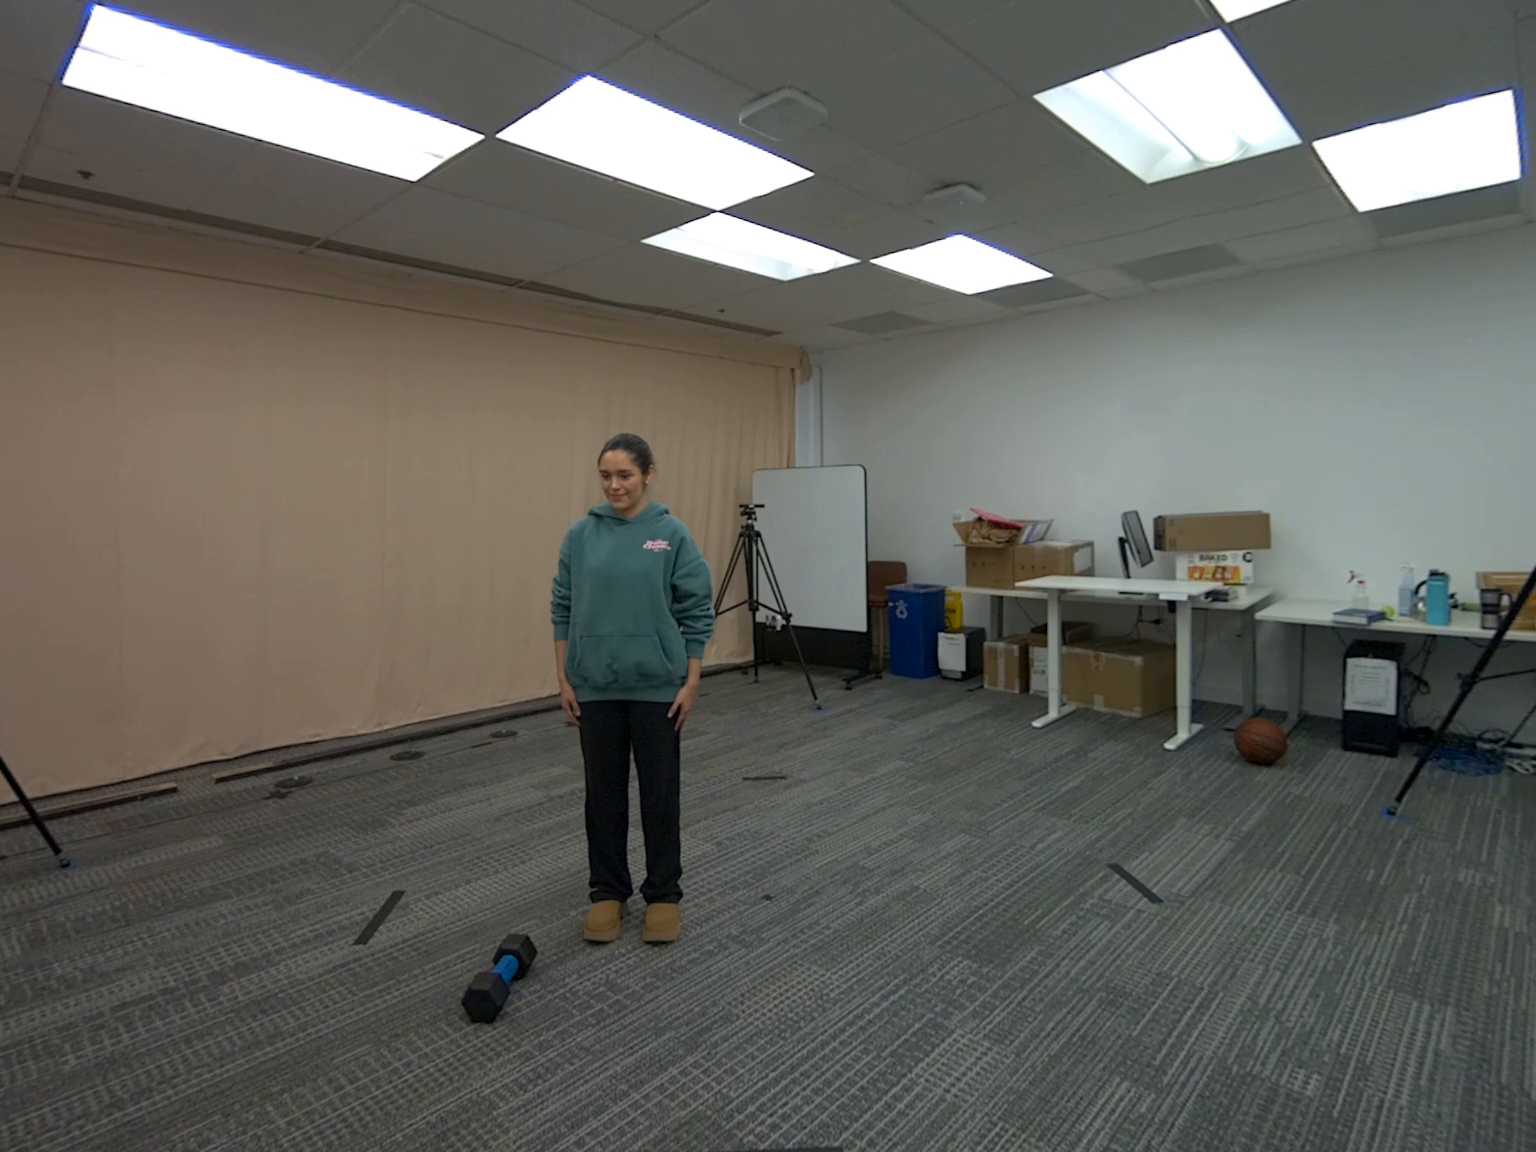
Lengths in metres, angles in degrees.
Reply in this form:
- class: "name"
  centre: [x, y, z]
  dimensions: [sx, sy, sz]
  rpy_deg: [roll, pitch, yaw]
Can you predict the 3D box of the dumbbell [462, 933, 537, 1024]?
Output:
- class: "dumbbell"
  centre: [-0.770, 1.152, 2.416]
  dimensions: [0.109, 0.123, 0.292]
  rpy_deg: [-29, 2, 7]
